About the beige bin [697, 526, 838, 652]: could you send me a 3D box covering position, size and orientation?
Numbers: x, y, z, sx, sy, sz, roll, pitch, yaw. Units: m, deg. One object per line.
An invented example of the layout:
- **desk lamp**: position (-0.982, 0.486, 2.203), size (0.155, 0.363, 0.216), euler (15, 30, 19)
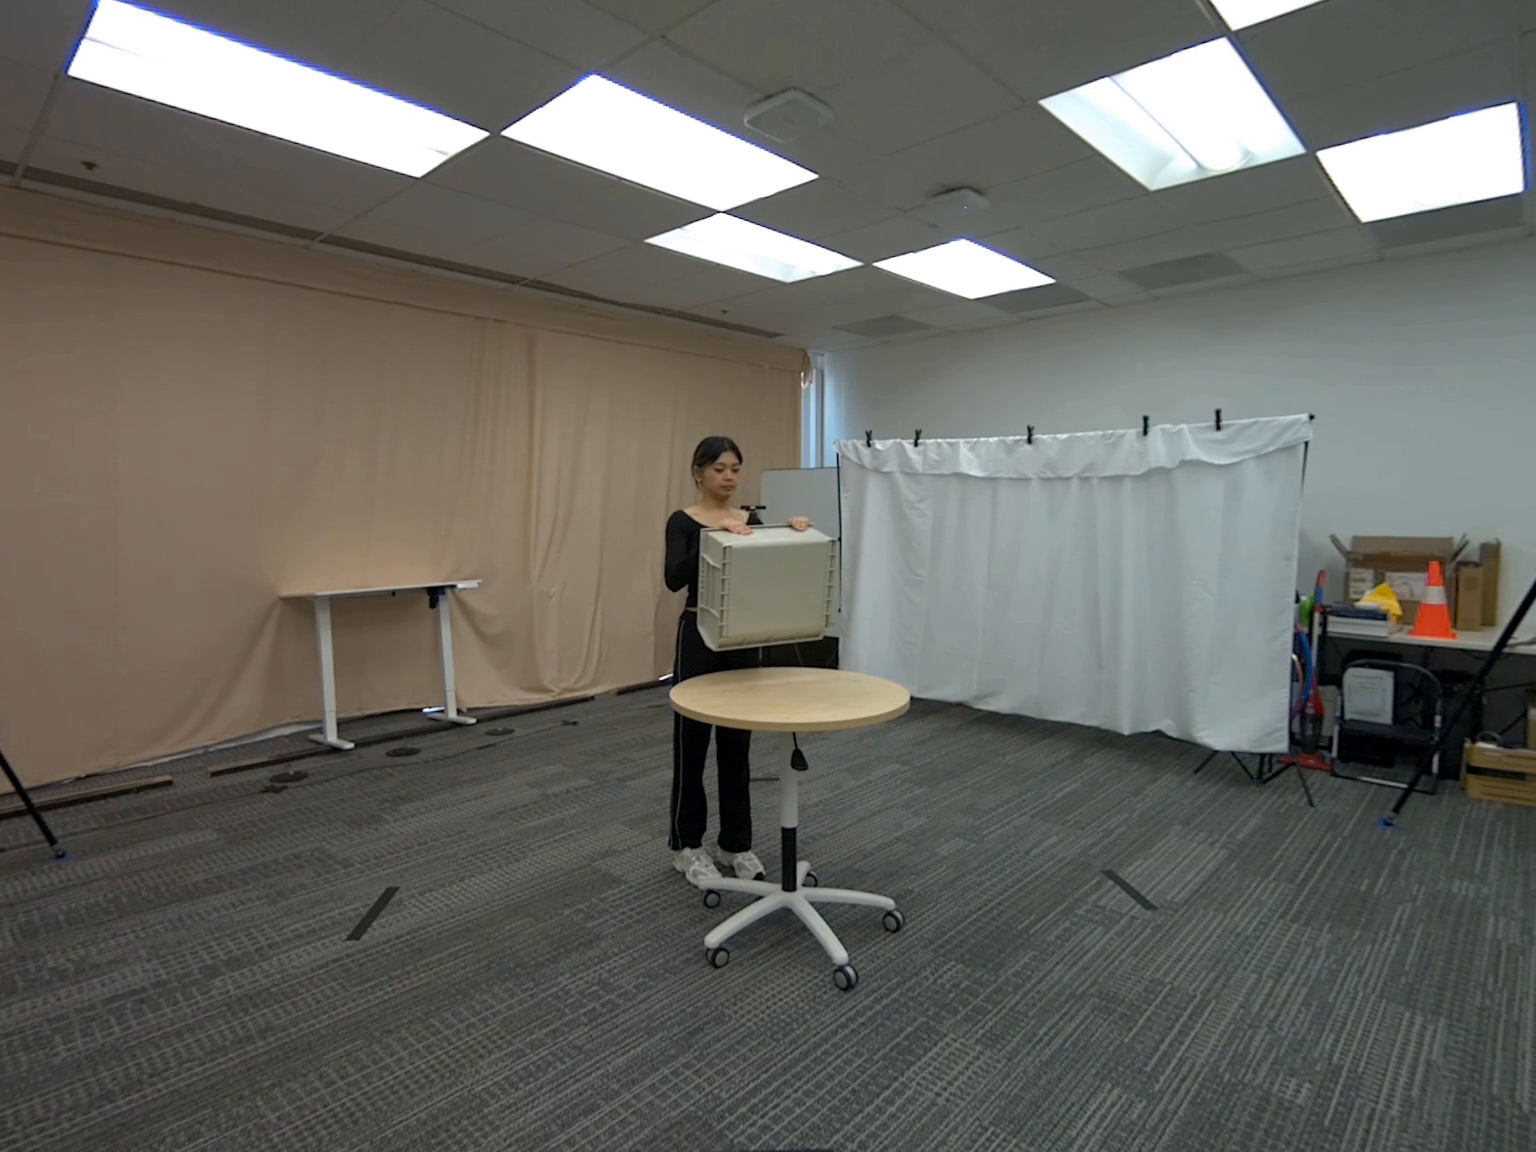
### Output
- **beige bin**: position (0.000, 0.032, 2.819), size (0.413, 0.374, 0.195), euler (-4, 18, -22)
